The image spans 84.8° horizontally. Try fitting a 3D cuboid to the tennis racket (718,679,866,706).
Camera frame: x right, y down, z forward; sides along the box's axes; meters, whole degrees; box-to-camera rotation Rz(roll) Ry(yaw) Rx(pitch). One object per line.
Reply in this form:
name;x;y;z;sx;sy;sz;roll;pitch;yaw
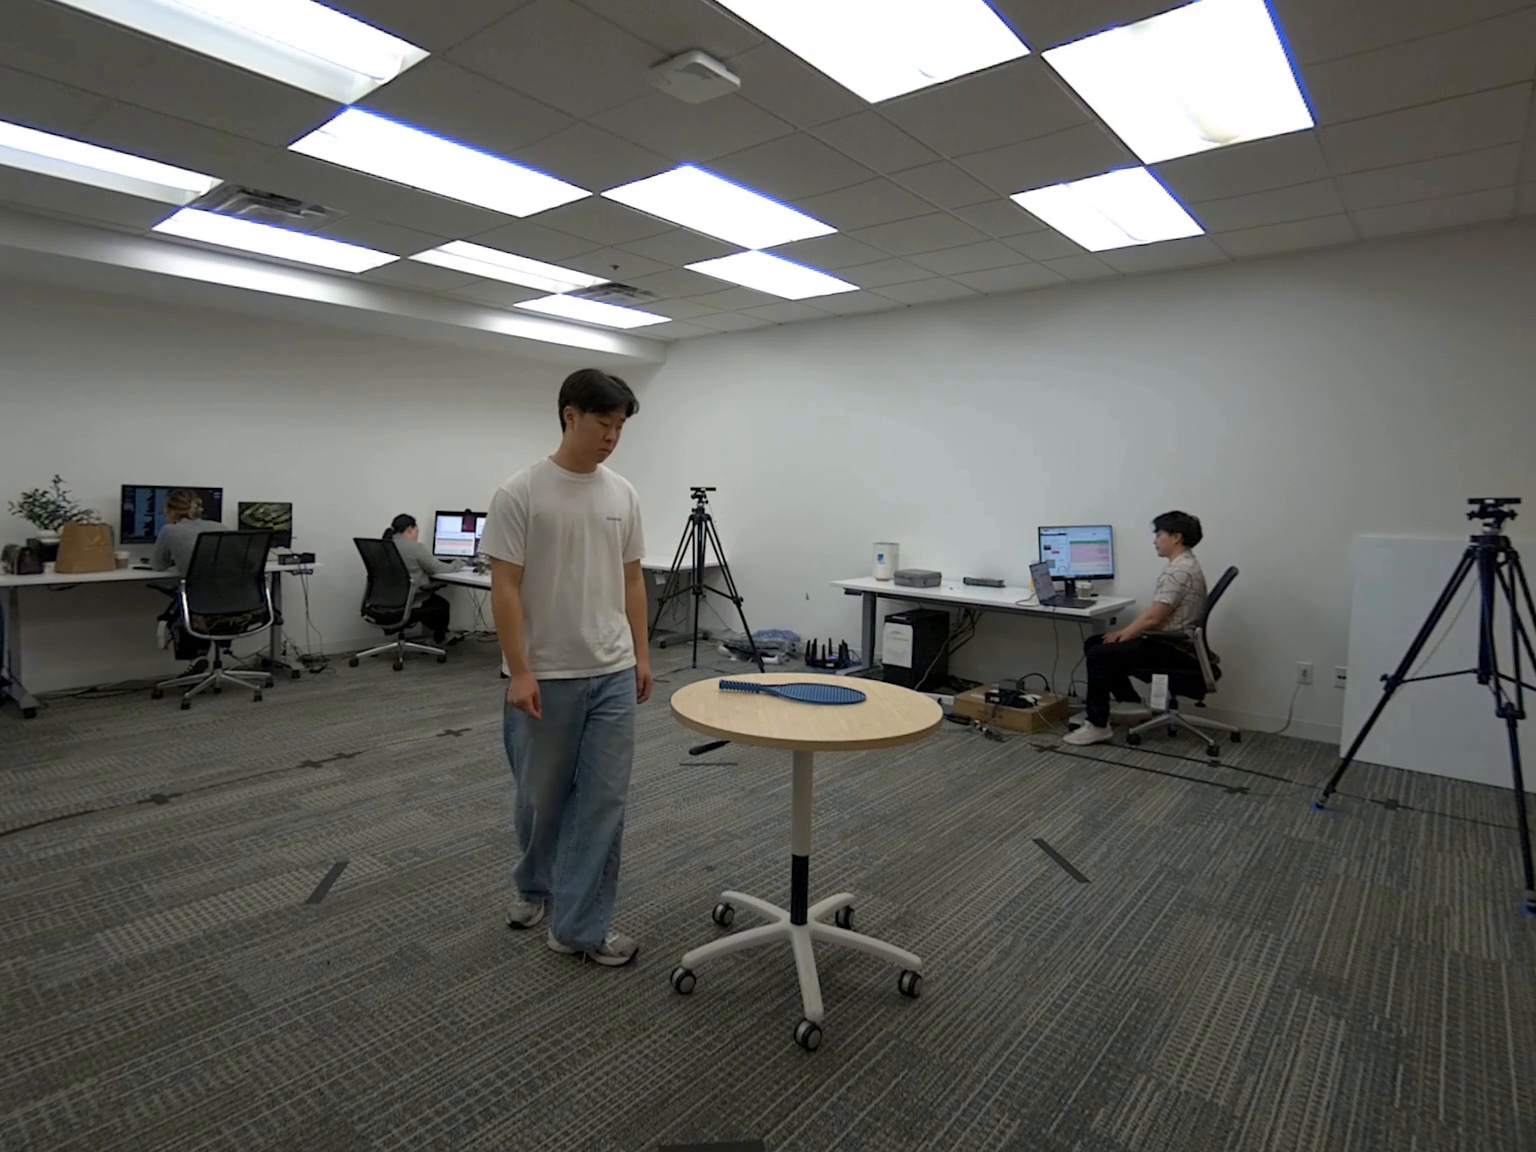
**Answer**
tennis racket;0.064;0.337;2.513;0.438;0.031;0.212;4;6;9
